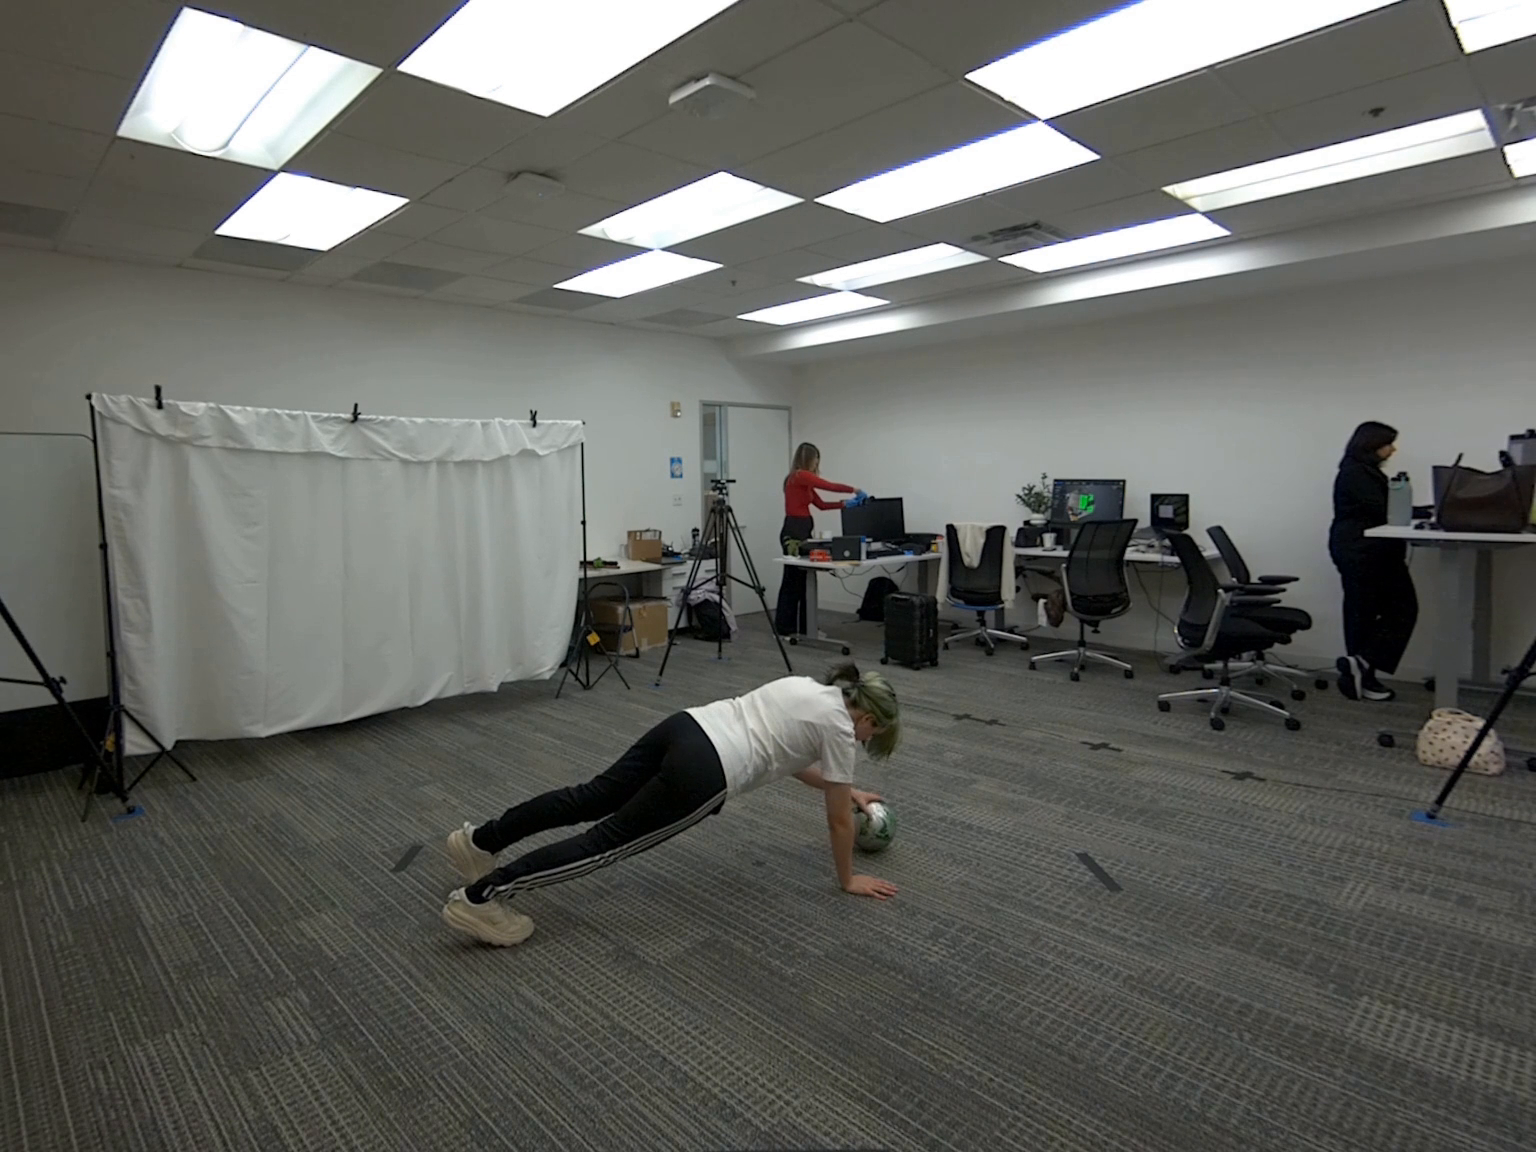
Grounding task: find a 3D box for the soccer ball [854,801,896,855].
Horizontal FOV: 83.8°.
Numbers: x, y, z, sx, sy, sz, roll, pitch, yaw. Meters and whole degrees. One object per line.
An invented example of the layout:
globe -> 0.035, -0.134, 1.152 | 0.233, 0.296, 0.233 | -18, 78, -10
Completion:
soccer ball -> 0.380, 0.932, 3.213 | 0.187, 0.187, 0.188 | -1, 5, -2
